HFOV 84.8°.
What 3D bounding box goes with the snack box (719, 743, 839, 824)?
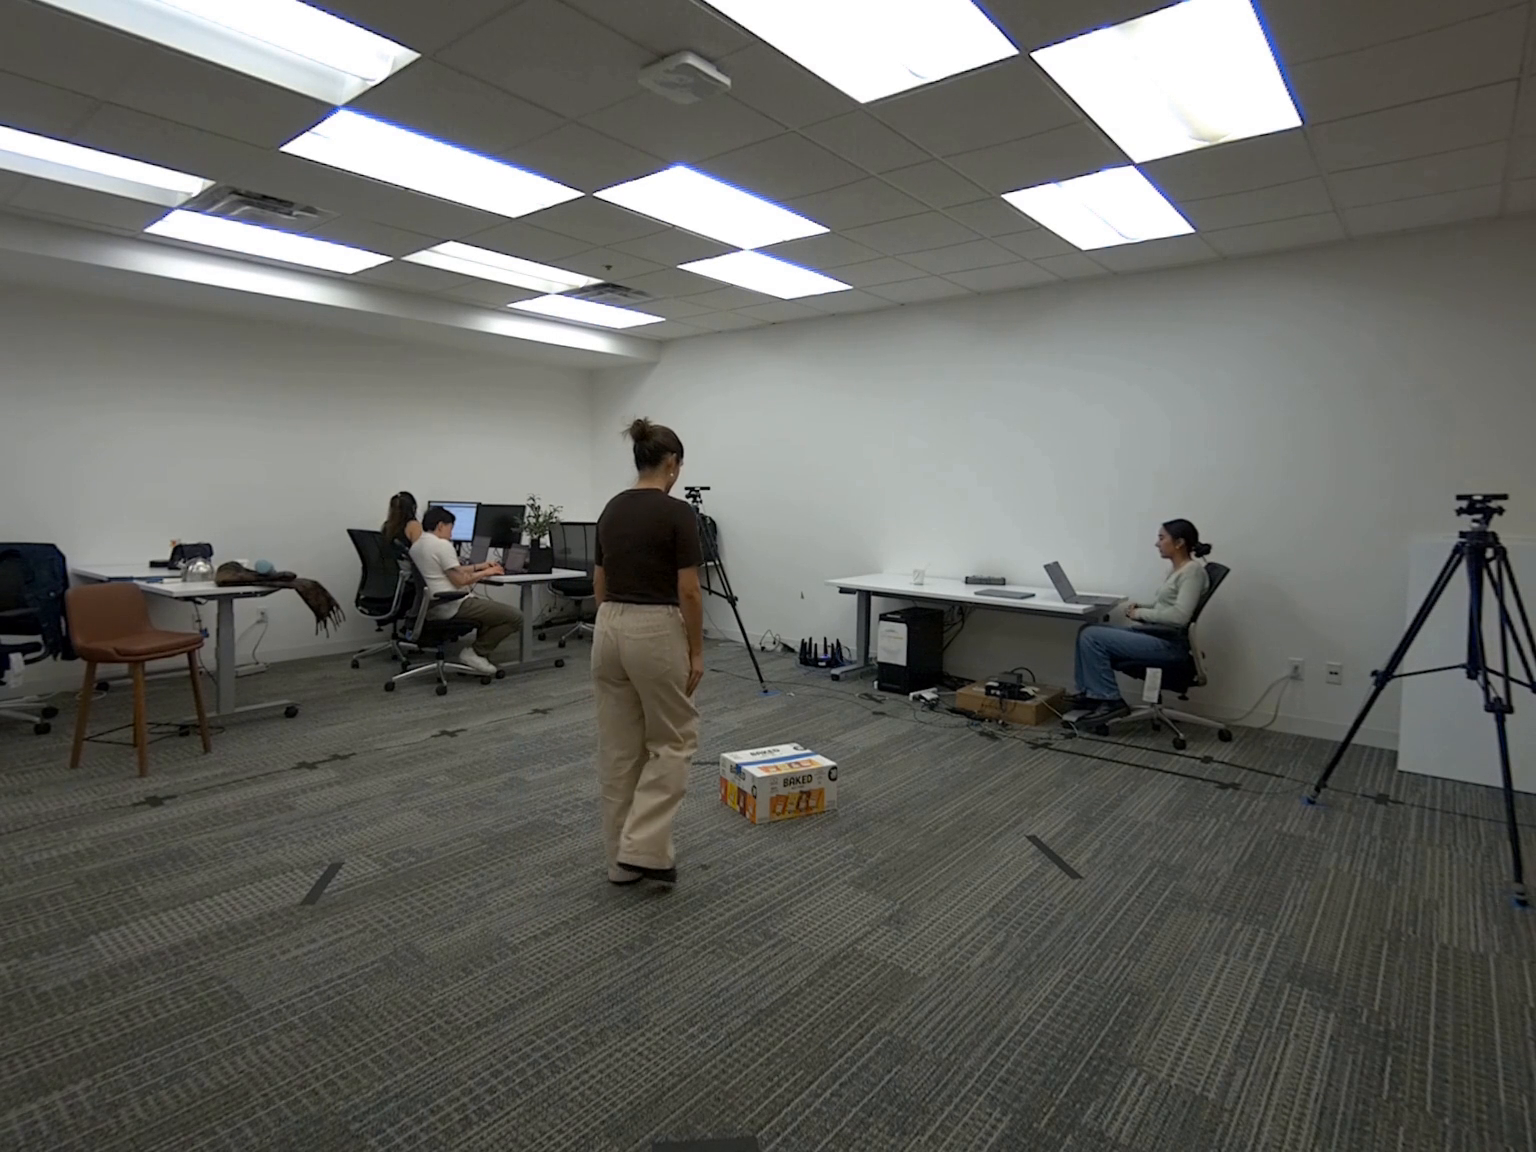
[{"bbox_3d":[0.032,0.904,3.753,0.395,0.205,0.350,-2,6,-29],"label":"snack box"}]
